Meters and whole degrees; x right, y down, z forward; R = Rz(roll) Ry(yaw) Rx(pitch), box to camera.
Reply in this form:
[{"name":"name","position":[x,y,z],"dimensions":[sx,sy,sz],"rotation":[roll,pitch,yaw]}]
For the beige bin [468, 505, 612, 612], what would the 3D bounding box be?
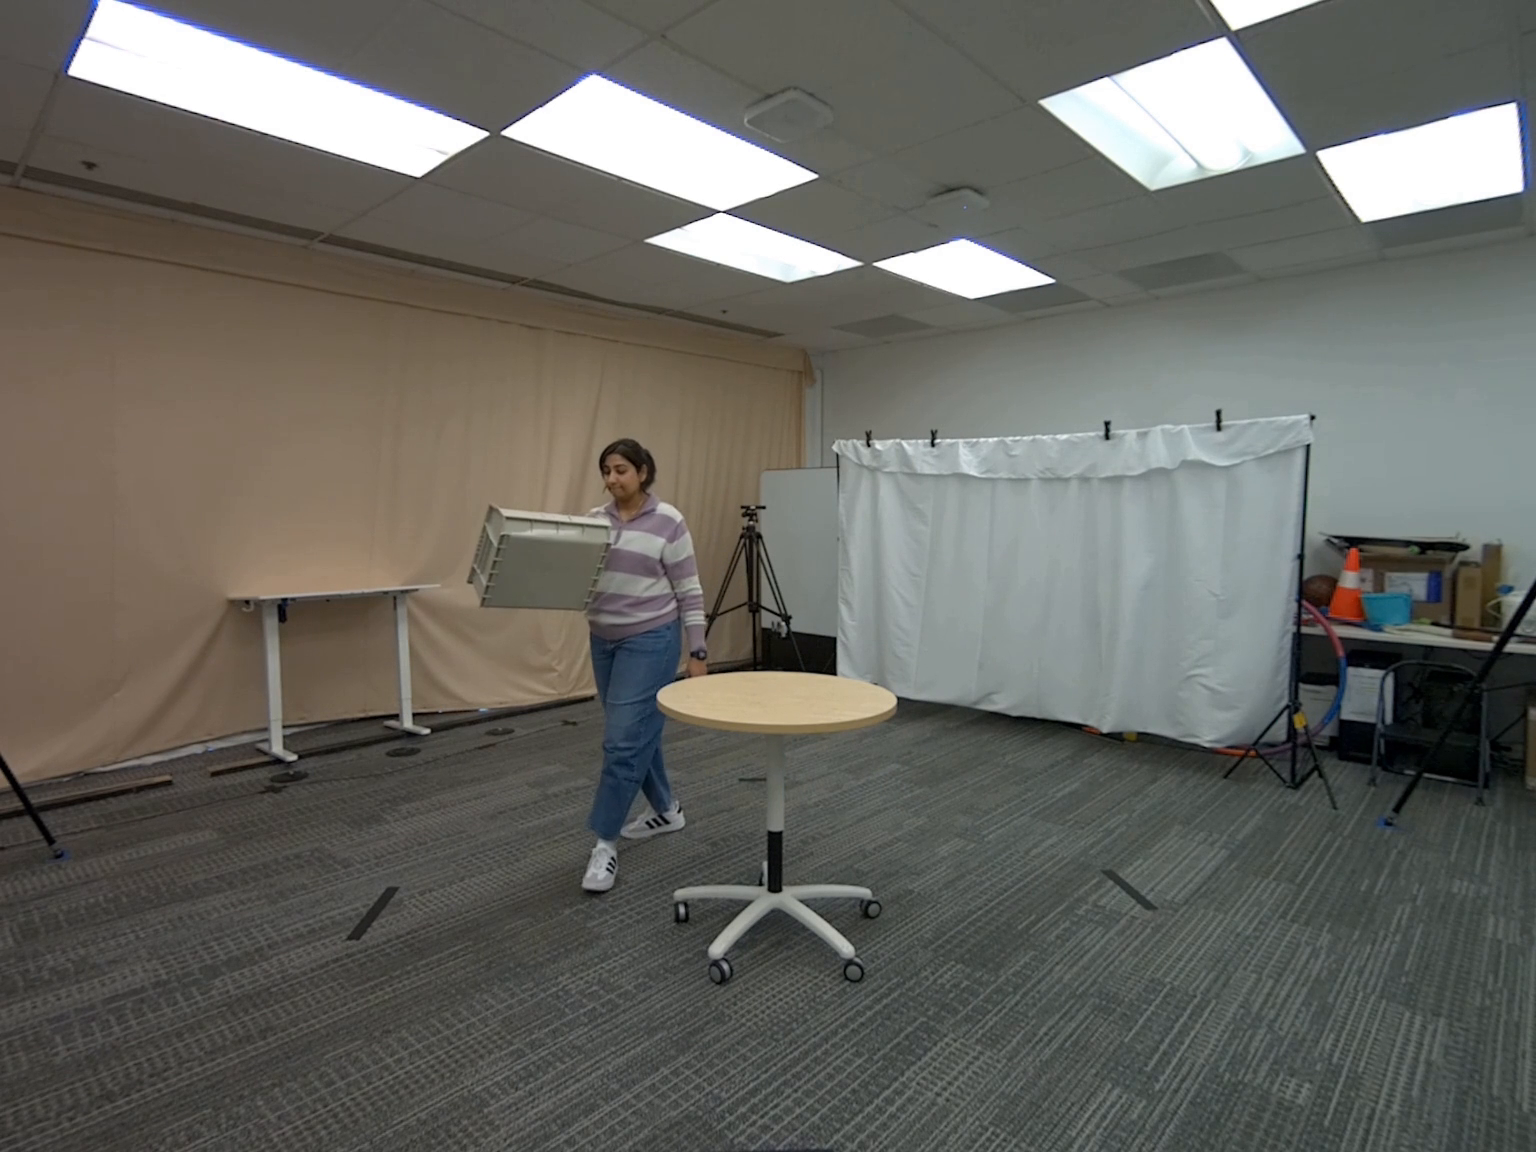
[{"name":"beige bin","position":[-0.809,-0.067,3.022],"dimensions":[0.409,0.376,0.196],"rotation":[4,30,-36]}]
